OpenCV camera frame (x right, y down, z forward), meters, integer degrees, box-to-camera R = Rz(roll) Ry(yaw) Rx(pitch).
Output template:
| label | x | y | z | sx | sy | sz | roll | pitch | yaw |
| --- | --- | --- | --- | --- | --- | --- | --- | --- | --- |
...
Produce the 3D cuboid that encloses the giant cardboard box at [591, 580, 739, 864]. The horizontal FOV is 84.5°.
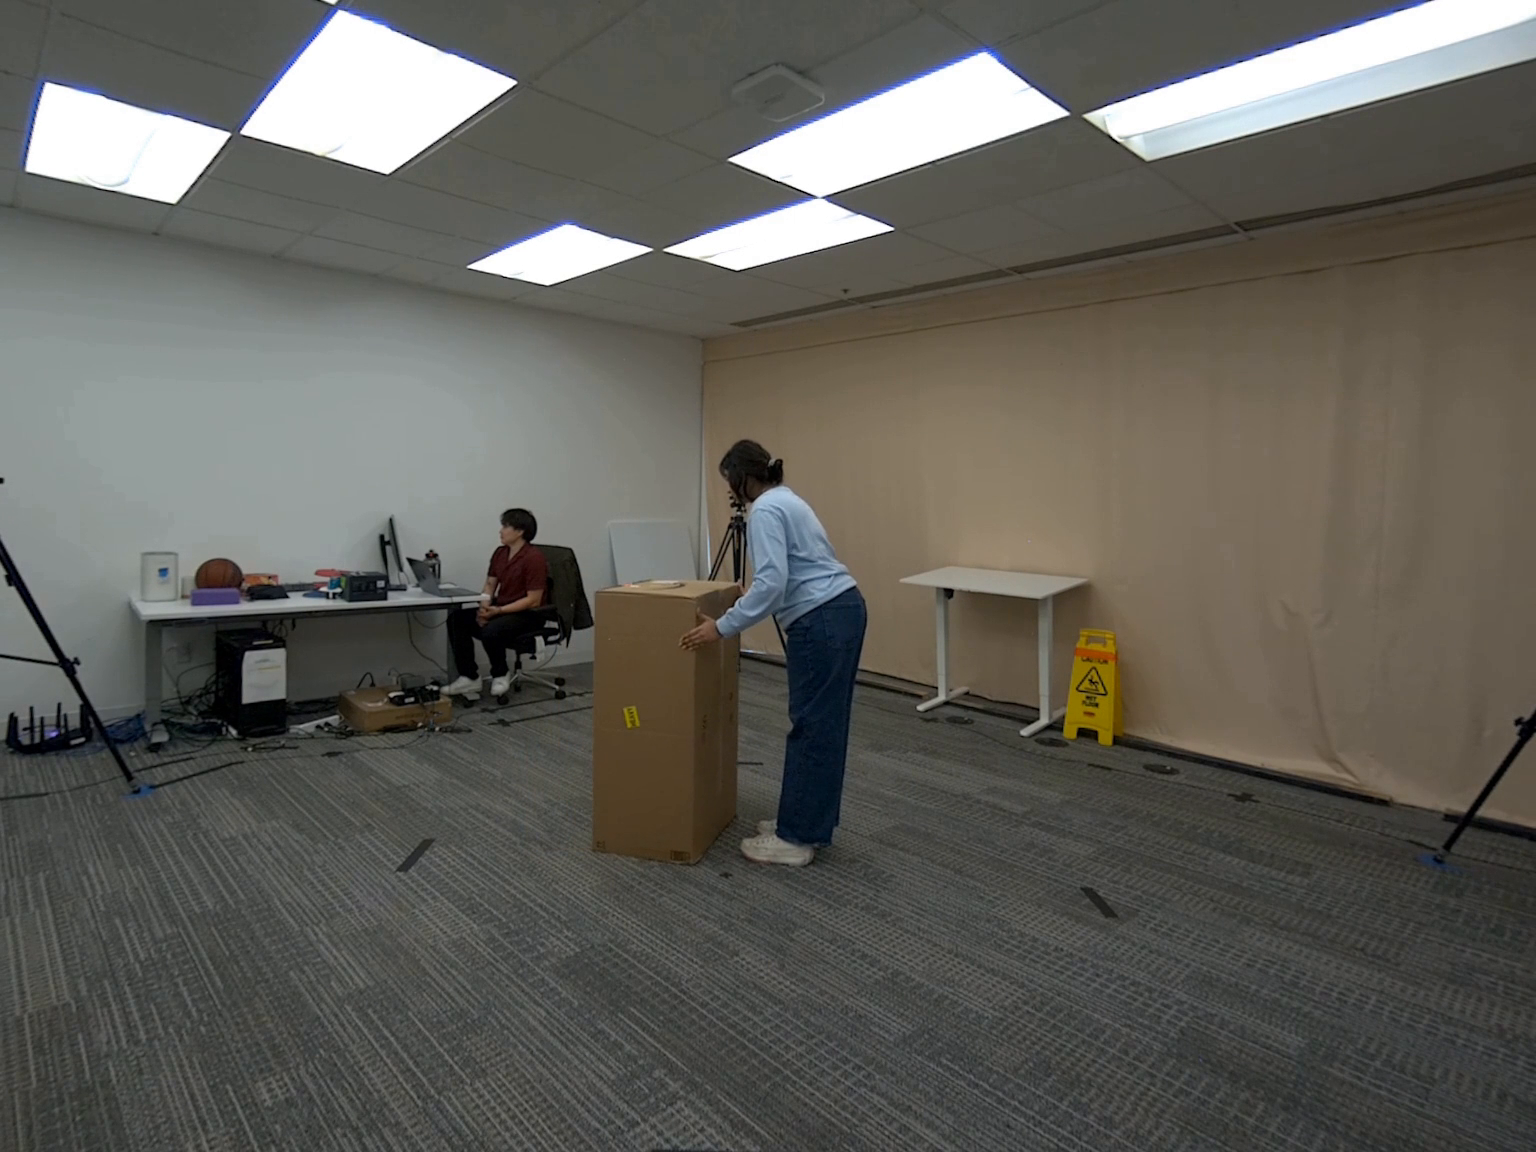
| label | x | y | z | sx | sy | sz | roll | pitch | yaw |
| --- | --- | --- | --- | --- | --- | --- | --- | --- | --- |
| giant cardboard box | -0.412 | 0.556 | 3.481 | 0.432 | 1.024 | 0.571 | 1 | 3 | 15 |
